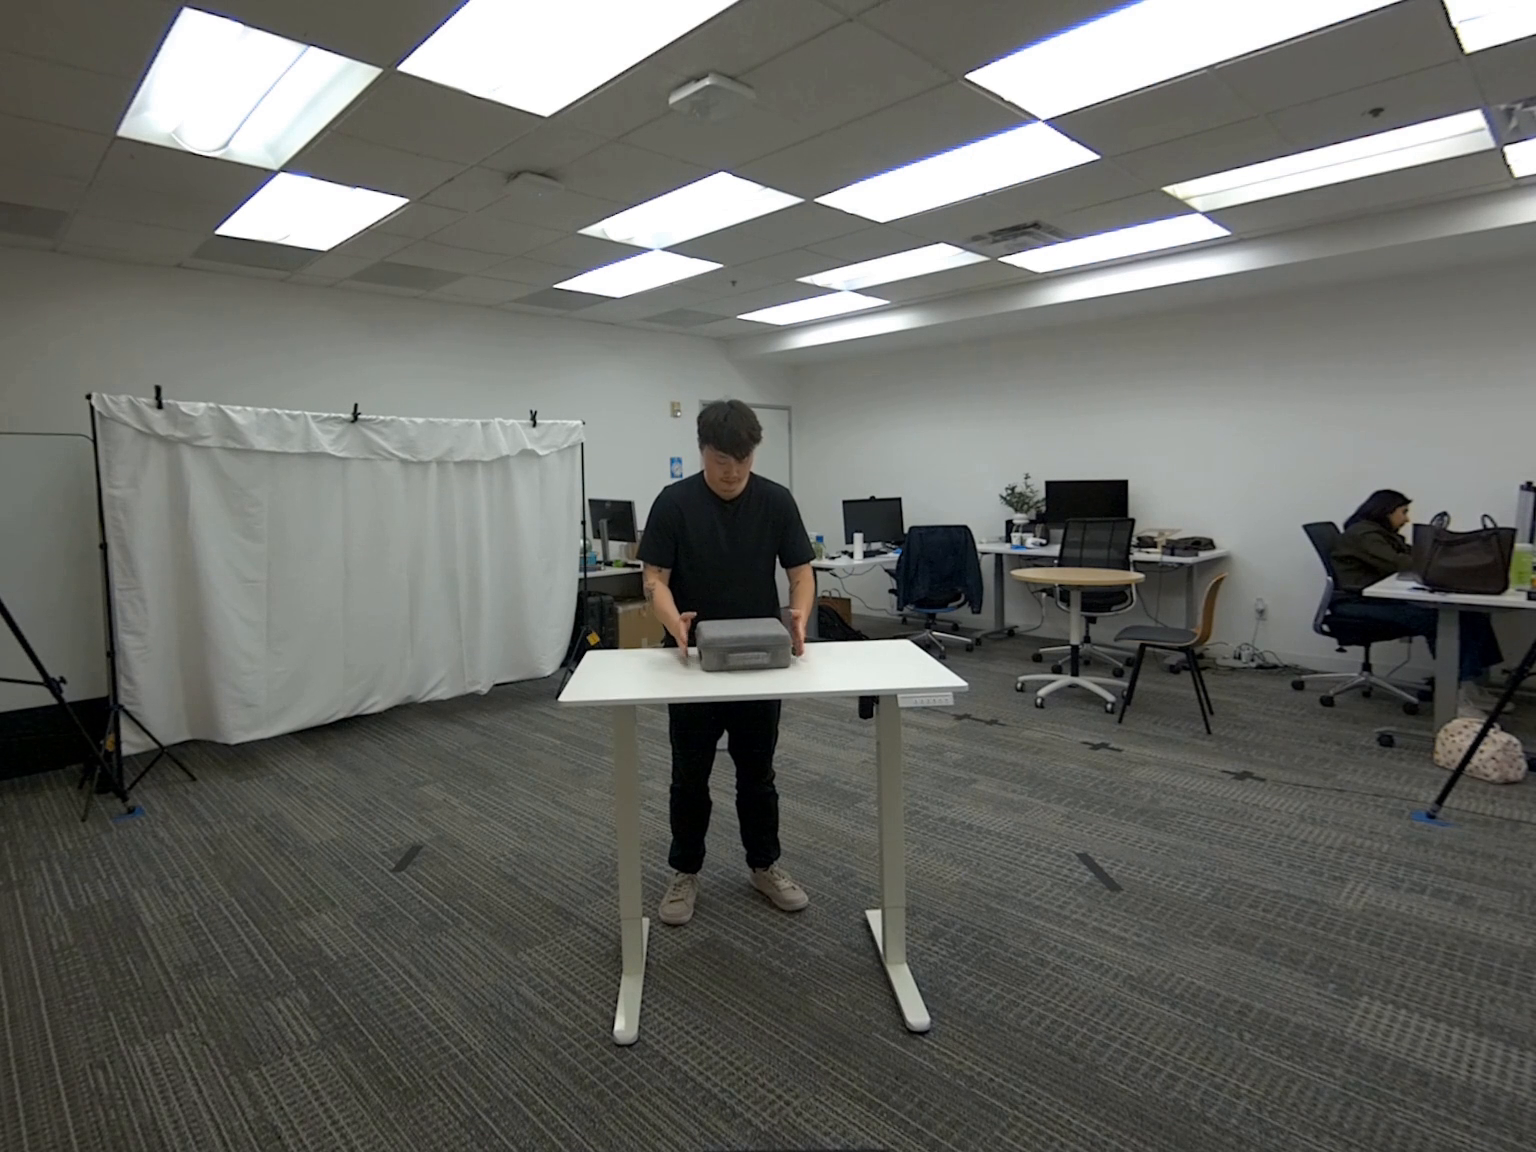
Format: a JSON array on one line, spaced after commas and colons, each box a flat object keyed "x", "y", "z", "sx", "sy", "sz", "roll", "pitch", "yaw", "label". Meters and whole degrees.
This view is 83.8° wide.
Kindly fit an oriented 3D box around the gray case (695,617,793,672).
[{"x": -0.079, "y": 0.195, "z": 2.425, "sx": 0.255, "sy": 0.104, "sz": 0.264, "roll": -1, "pitch": 7, "yaw": -8, "label": "gray case"}]
